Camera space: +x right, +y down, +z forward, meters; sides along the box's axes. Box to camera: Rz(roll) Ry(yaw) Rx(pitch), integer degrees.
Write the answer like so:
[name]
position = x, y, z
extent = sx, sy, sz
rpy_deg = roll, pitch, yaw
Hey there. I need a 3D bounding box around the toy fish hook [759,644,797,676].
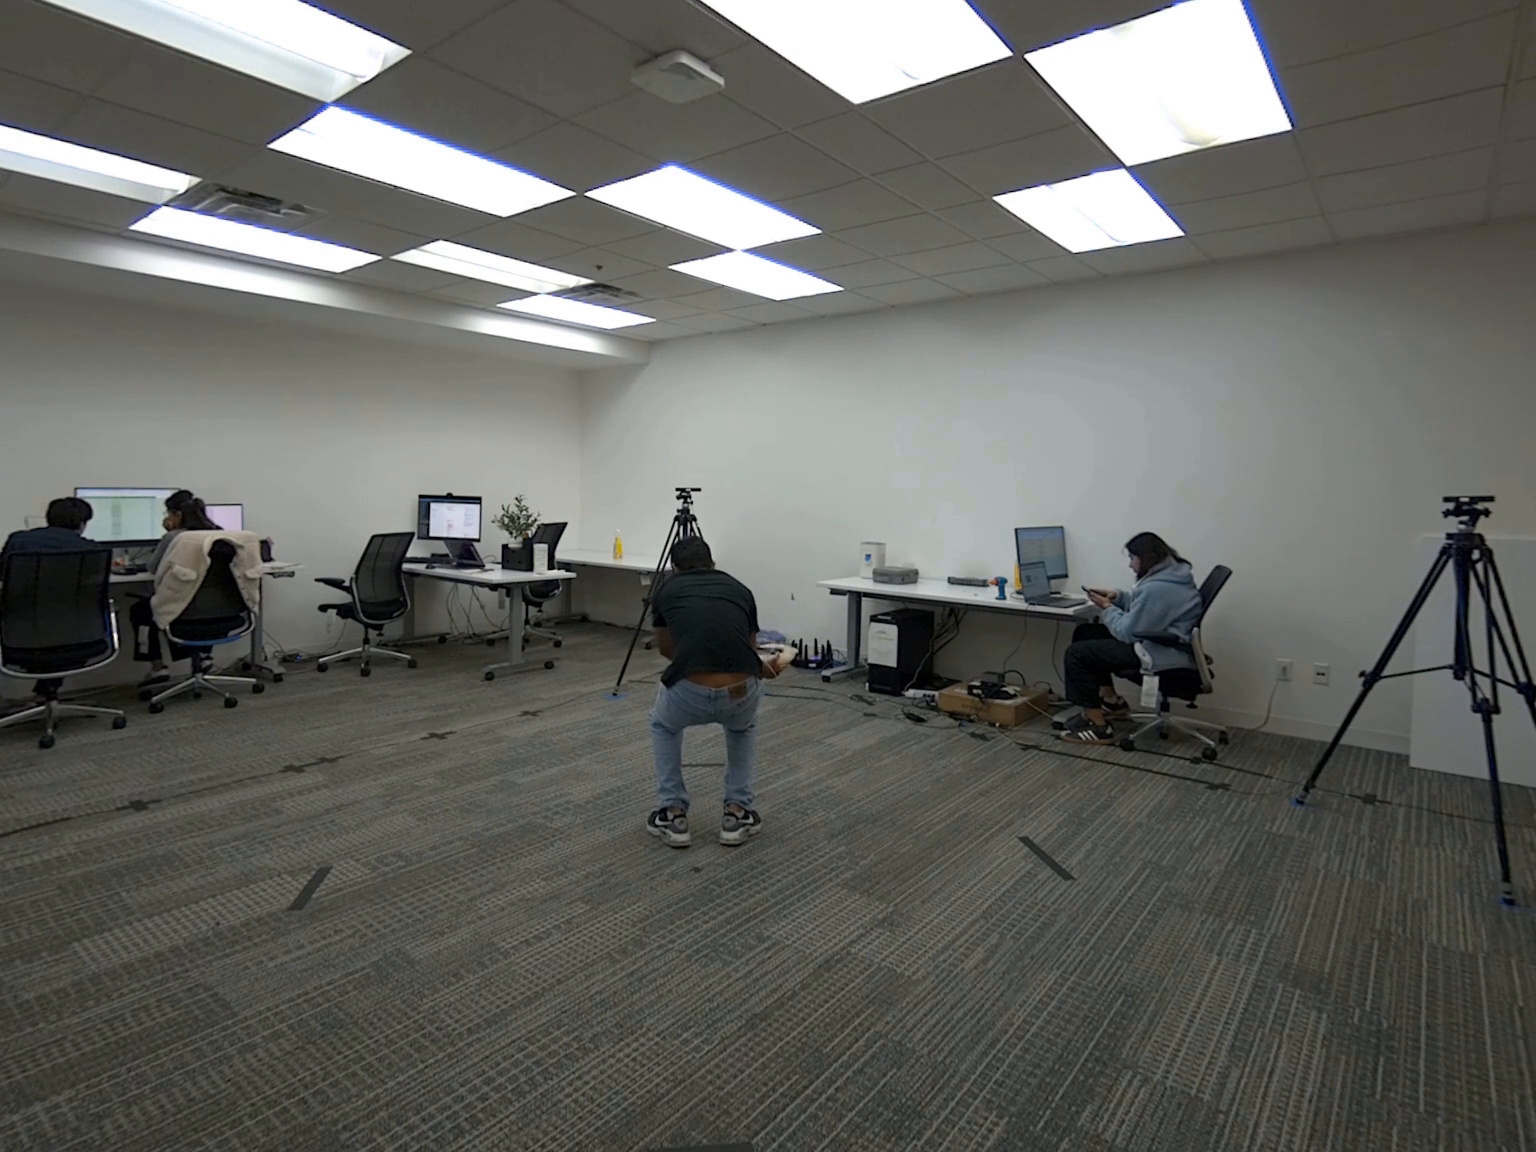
[toy fish hook]
position = -0.134, 0.356, 3.981
extent = 0.518, 0.048, 0.222
rpy_deg = 2, 13, 21
